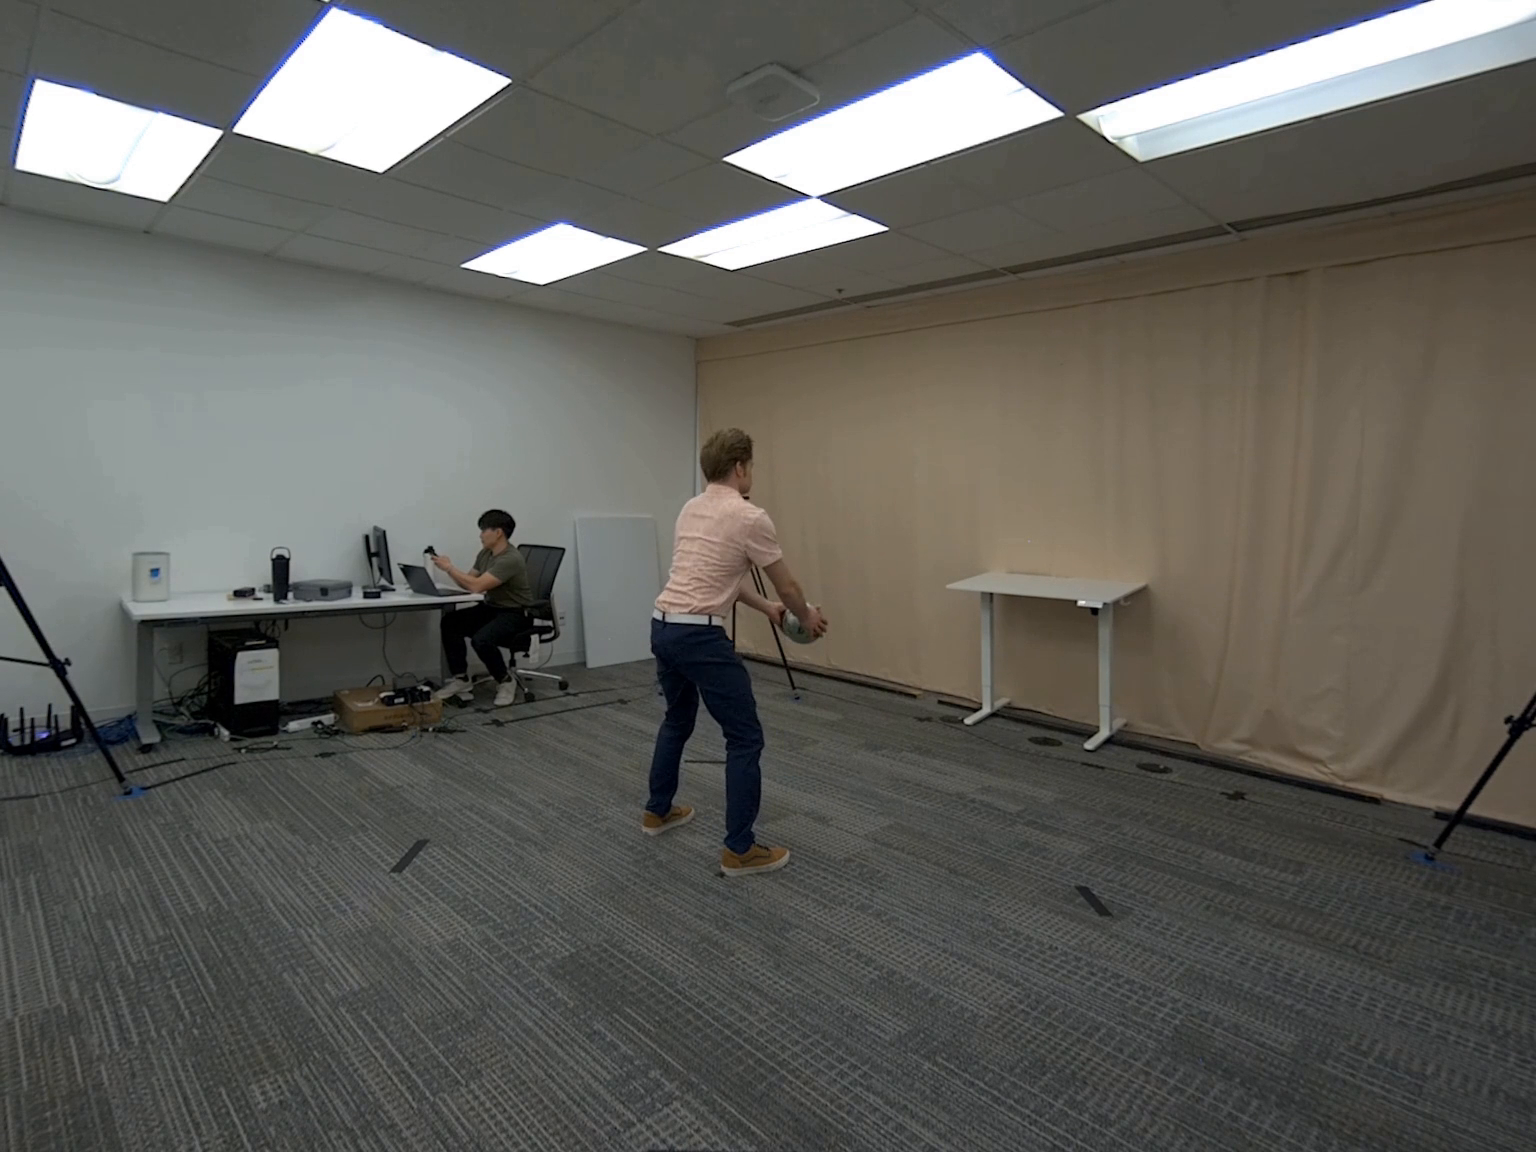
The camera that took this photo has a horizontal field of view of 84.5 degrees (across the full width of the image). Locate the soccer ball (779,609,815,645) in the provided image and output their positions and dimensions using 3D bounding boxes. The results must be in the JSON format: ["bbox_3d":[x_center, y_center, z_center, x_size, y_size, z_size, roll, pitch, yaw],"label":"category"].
[{"bbox_3d":[0.147,0.212,3.630,0.187,0.187,0.188,1,4,-1],"label":"soccer ball"}]
